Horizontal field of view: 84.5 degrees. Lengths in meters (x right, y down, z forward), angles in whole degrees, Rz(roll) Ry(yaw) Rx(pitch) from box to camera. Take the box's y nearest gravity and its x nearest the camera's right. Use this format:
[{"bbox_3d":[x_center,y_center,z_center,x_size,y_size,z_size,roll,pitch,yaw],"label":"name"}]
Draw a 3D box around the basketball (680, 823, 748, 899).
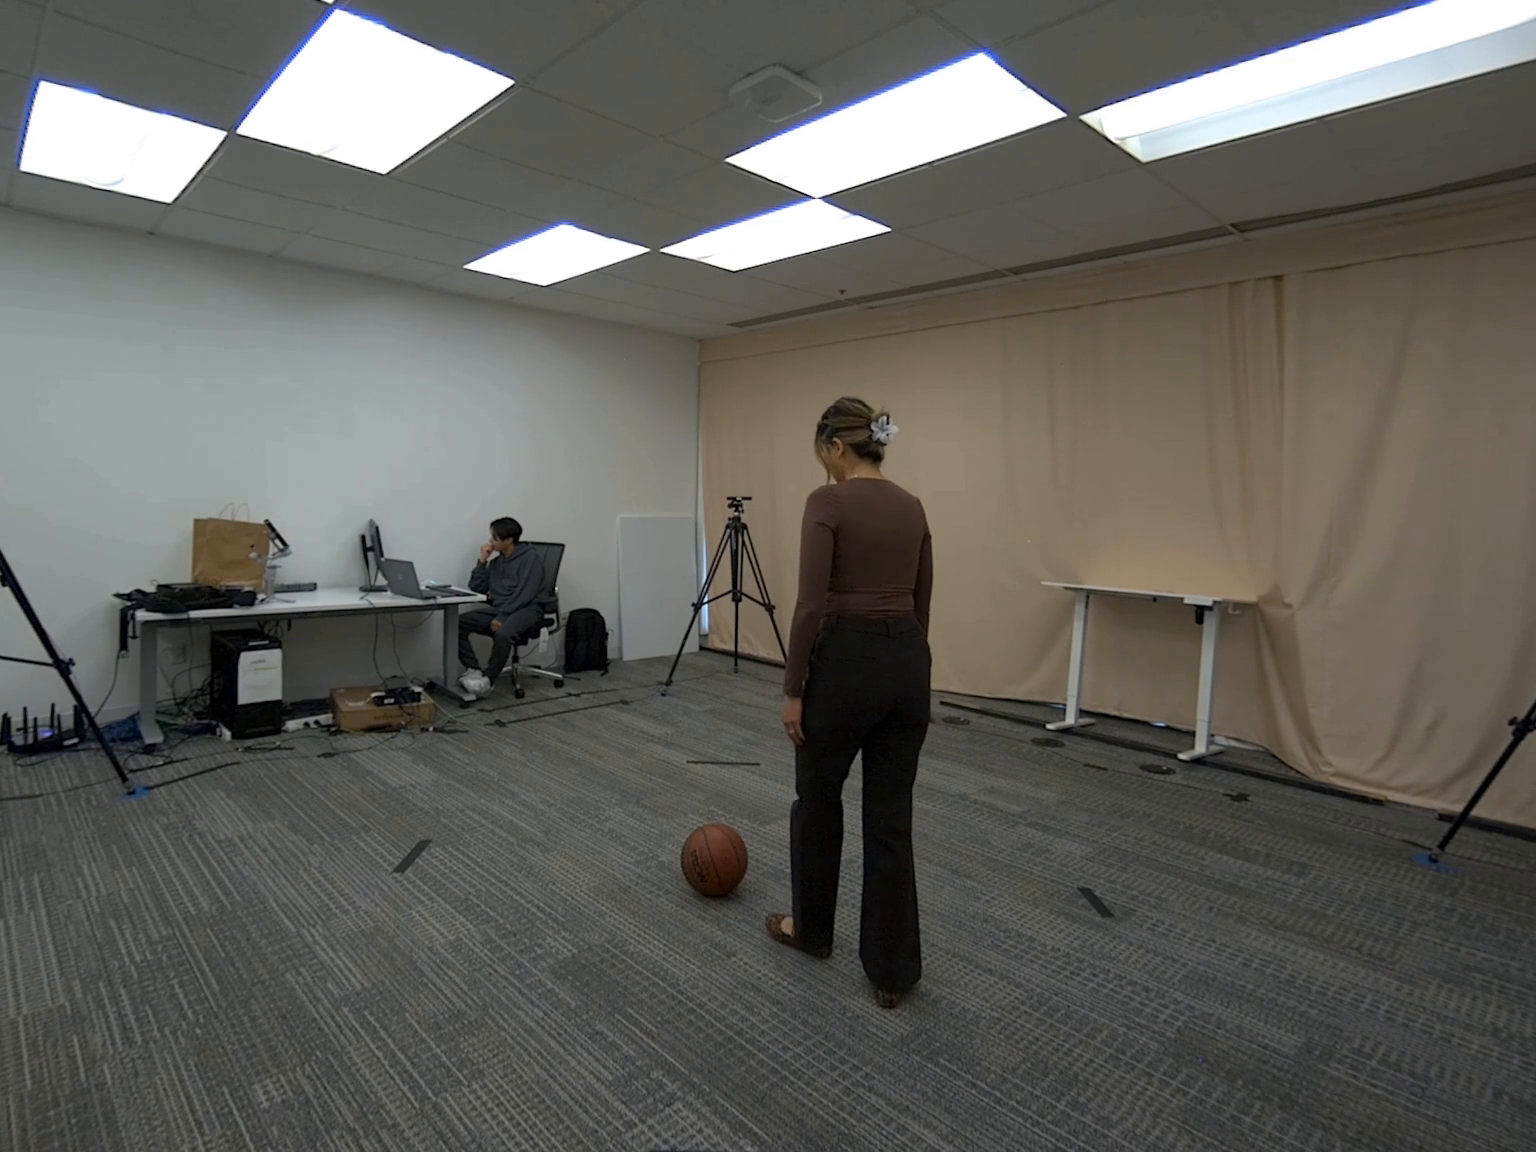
[{"bbox_3d":[-0.194,0.997,2.967,0.236,0.235,0.237,1,4,-1],"label":"basketball"}]
